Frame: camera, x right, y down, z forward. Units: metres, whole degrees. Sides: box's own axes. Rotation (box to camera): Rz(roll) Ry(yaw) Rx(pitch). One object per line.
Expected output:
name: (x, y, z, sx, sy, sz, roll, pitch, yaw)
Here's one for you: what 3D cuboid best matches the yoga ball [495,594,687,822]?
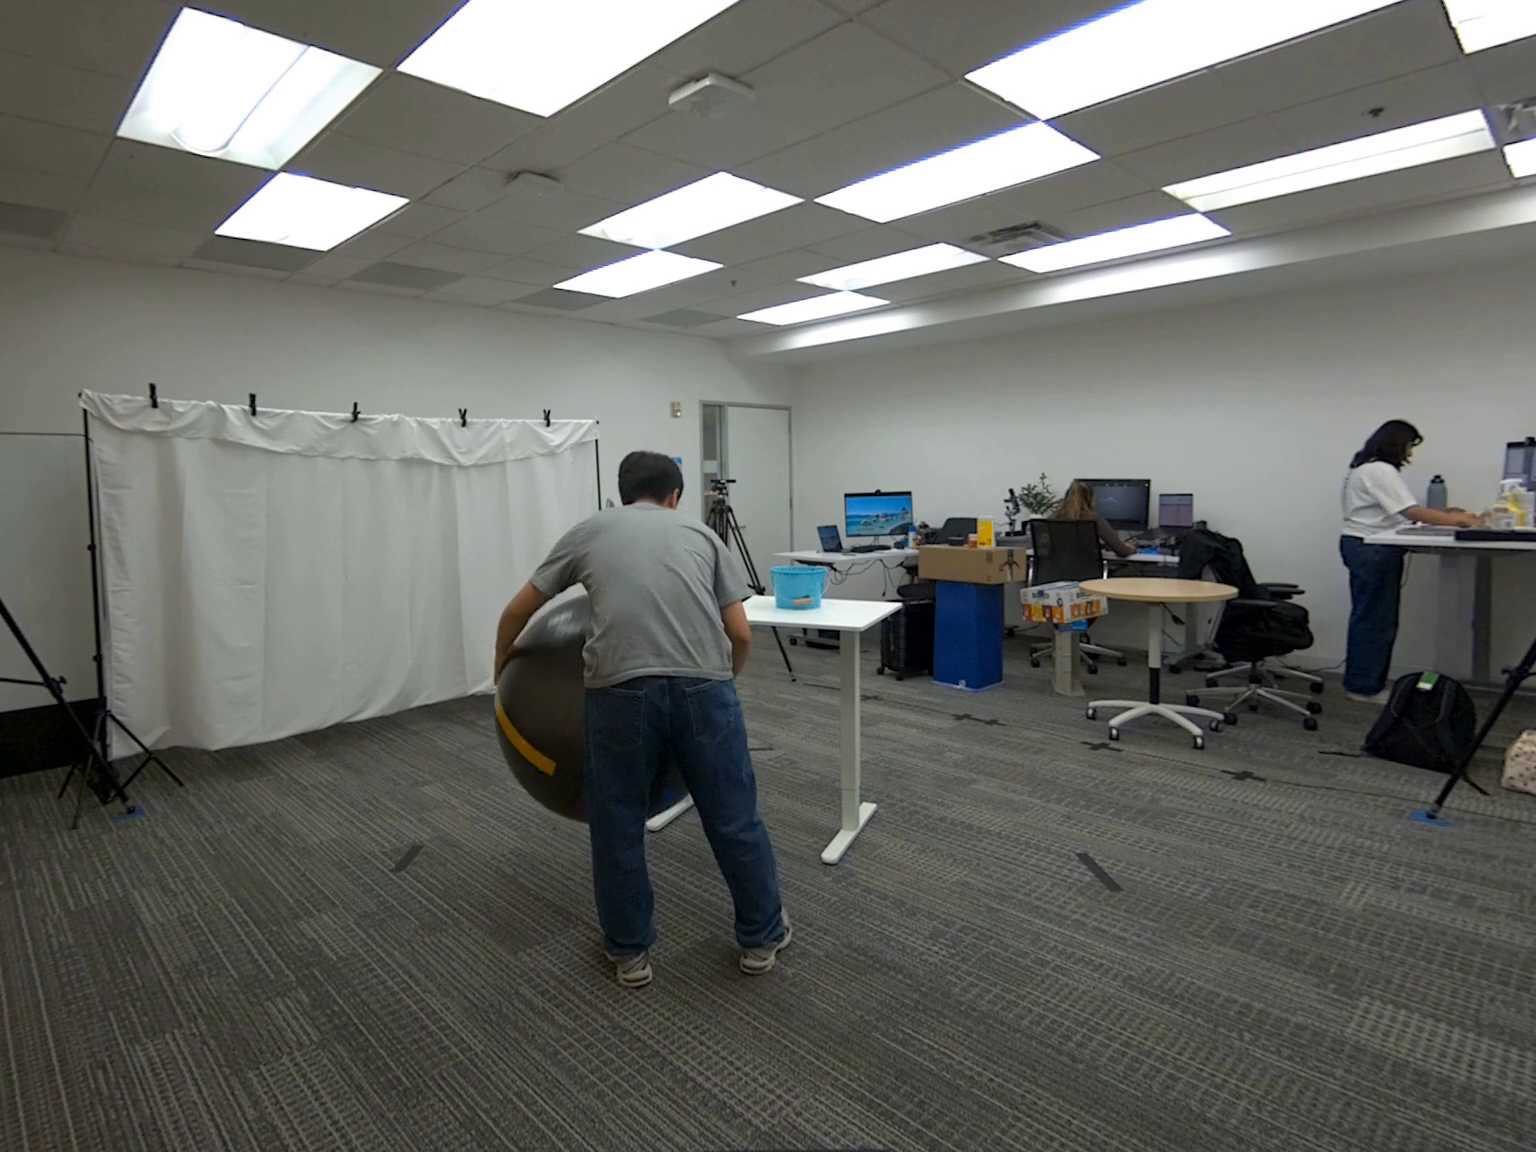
yoga ball: (-0.513, 0.424, 2.822, 0.757, 0.755, 0.762, -1, 5, -2)
